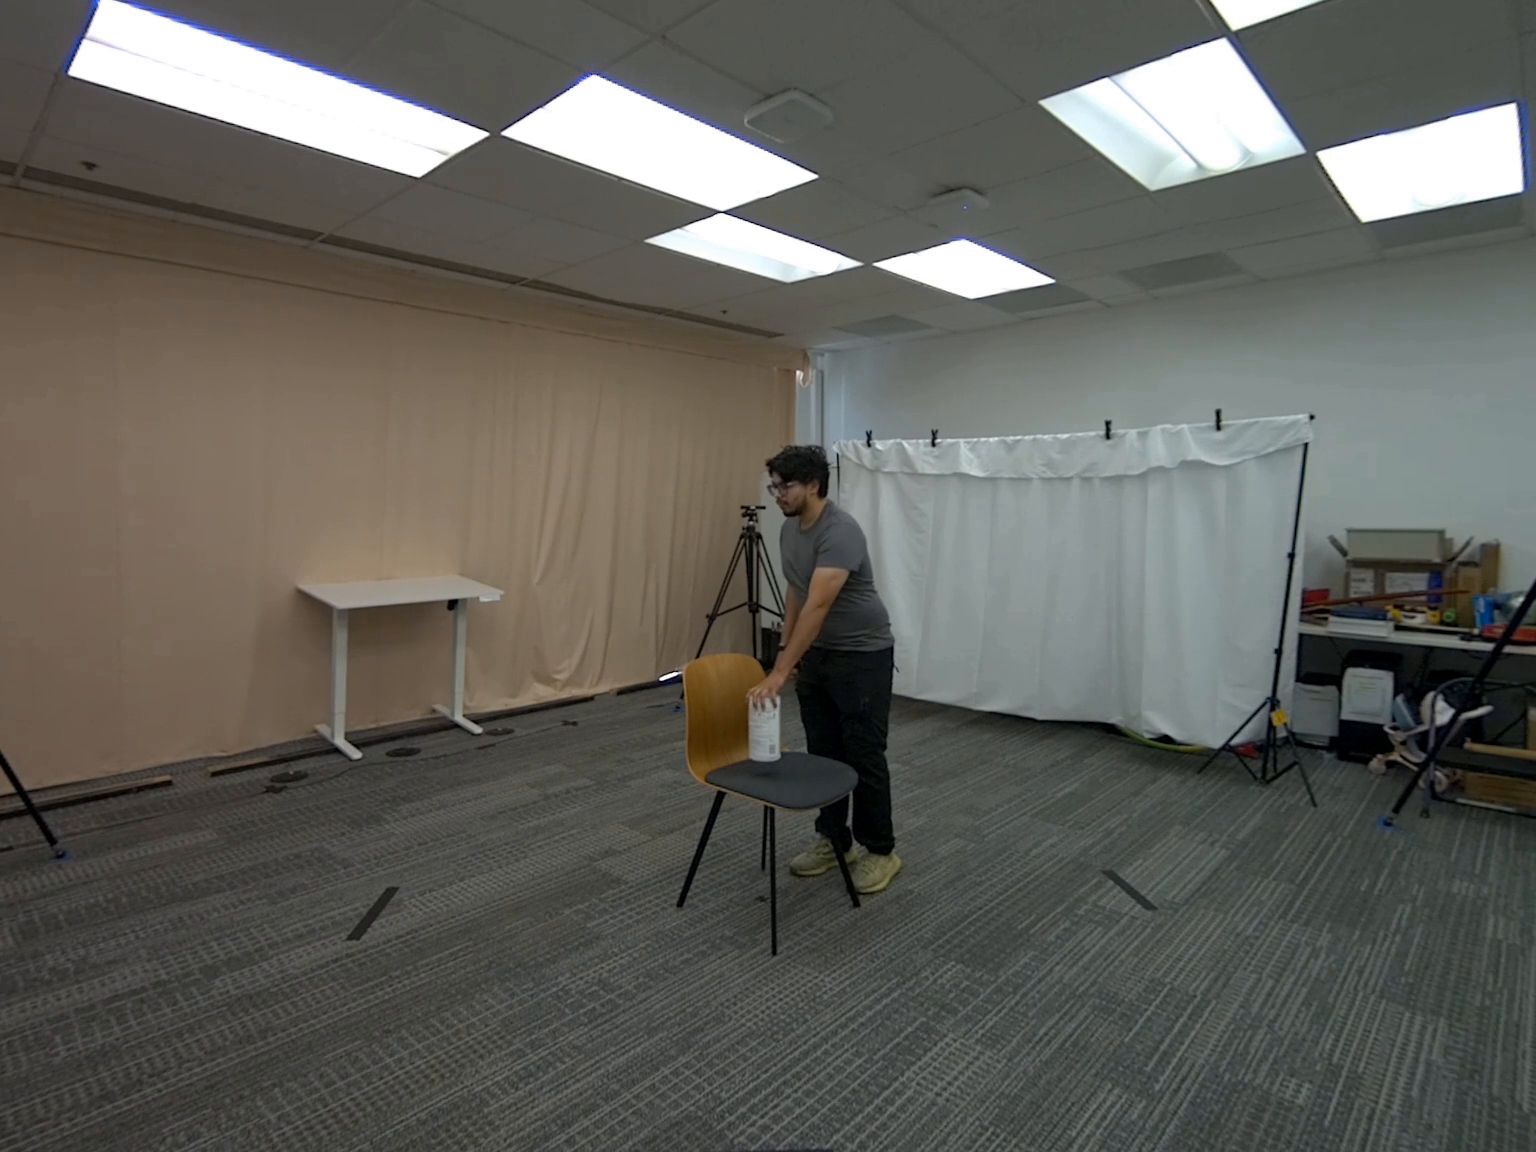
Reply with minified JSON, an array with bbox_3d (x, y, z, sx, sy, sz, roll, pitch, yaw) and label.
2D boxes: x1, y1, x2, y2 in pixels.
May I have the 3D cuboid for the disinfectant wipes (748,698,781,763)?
[{"bbox_3d":[-0.003,0.515,2.877,0.118,0.217,0.118,3,1,-2],"label":"disinfectant wipes"}]
